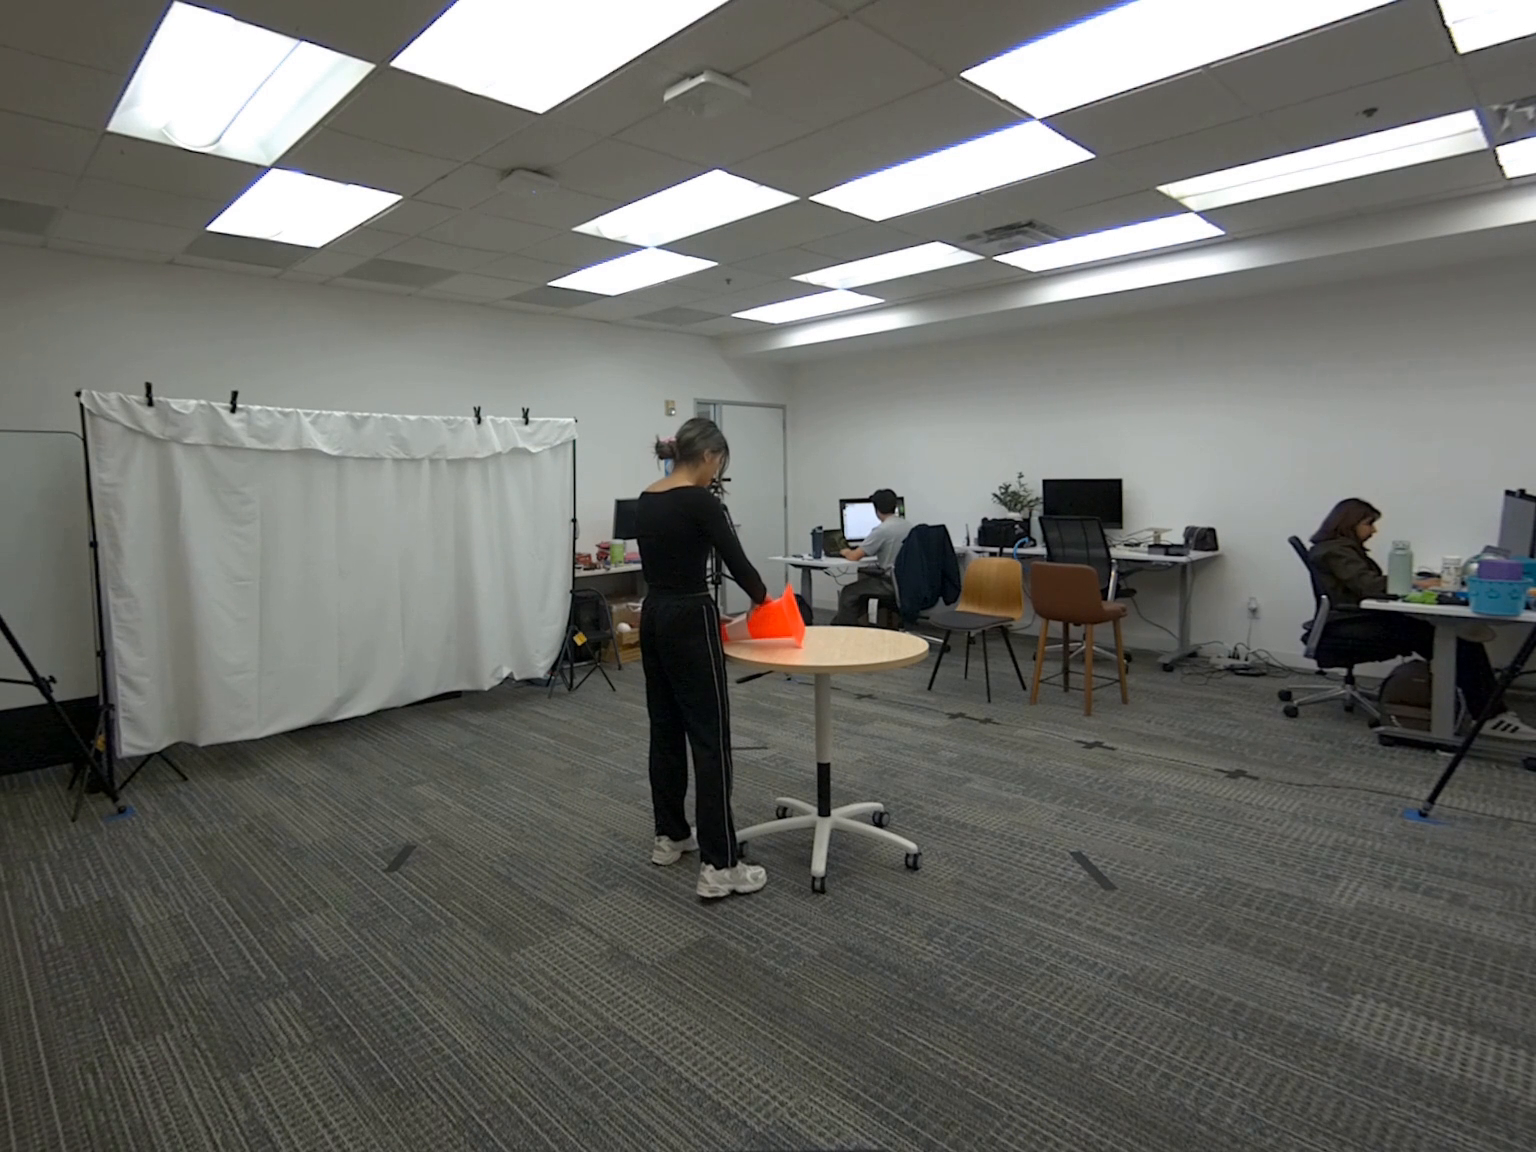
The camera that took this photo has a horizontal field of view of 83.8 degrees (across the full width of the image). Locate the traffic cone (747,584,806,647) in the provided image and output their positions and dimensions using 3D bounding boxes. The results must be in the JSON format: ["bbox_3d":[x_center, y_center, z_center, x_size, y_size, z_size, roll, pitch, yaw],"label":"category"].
[{"bbox_3d":[-0.082,0.193,3.168,0.387,0.200,0.206,-16,14,13],"label":"traffic cone"}]
